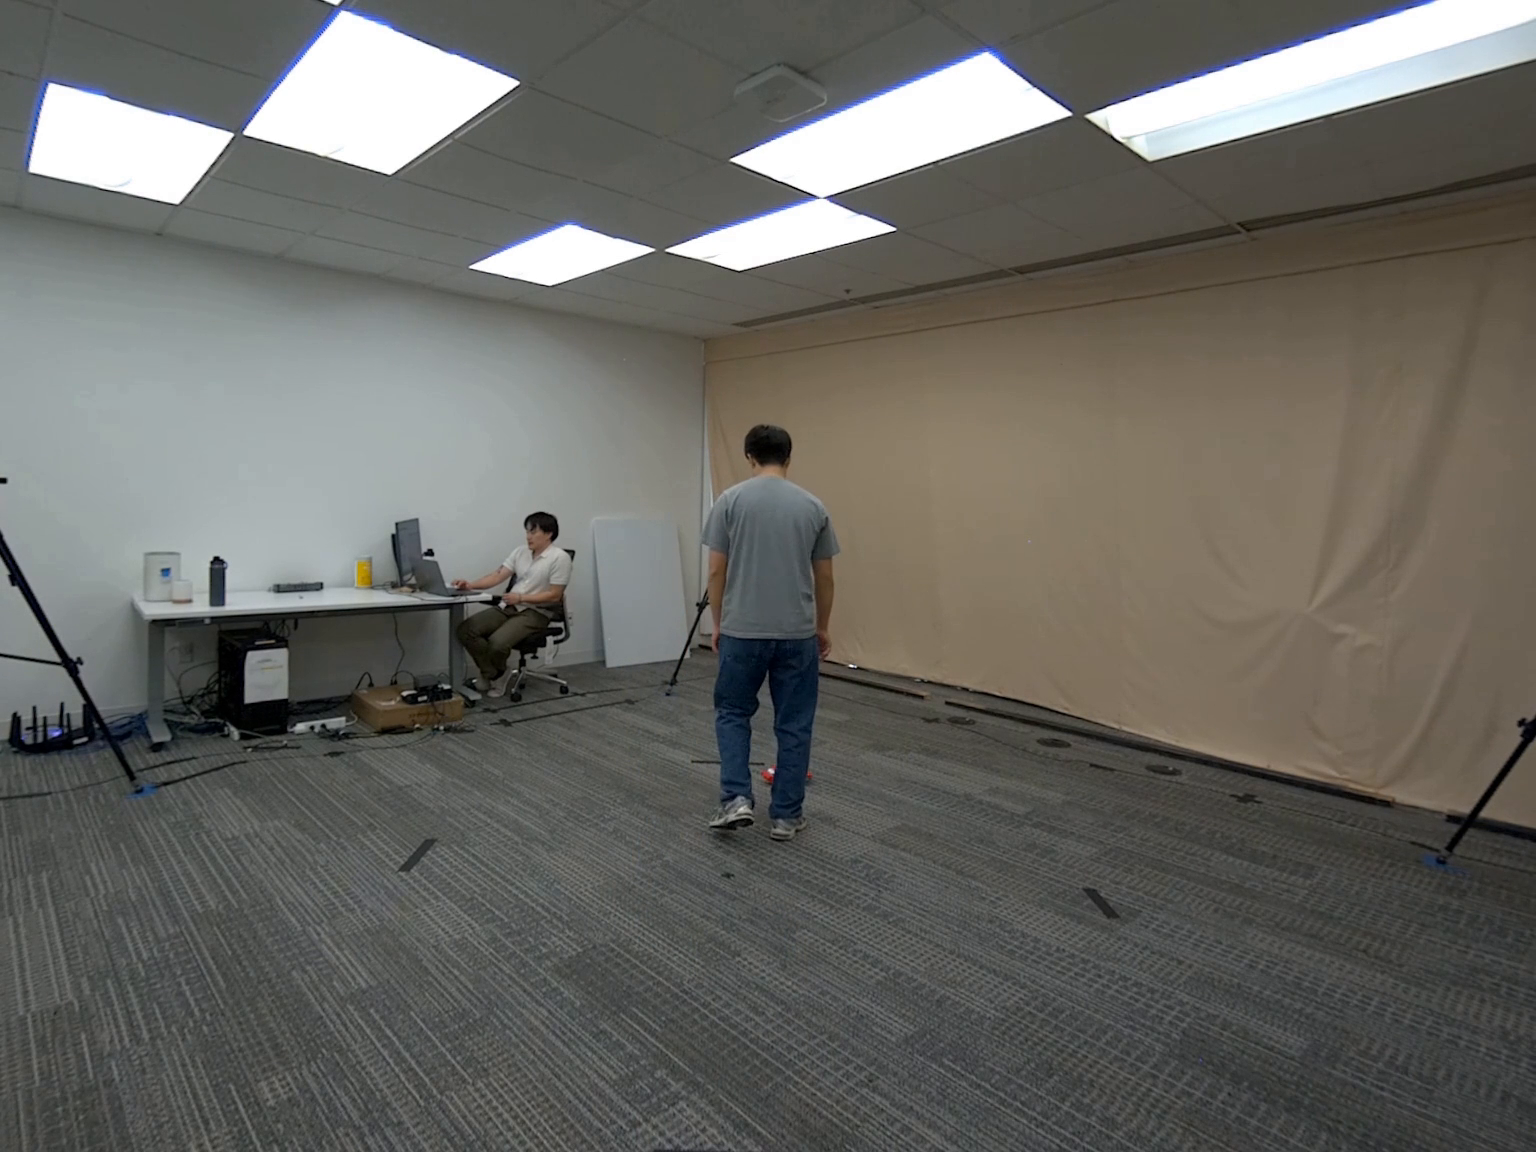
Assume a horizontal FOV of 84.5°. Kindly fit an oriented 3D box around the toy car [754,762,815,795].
[{"bbox_3d":[0.078,0.994,4.163,0.250,0.083,0.132,12,1,-18],"label":"toy car"}]
